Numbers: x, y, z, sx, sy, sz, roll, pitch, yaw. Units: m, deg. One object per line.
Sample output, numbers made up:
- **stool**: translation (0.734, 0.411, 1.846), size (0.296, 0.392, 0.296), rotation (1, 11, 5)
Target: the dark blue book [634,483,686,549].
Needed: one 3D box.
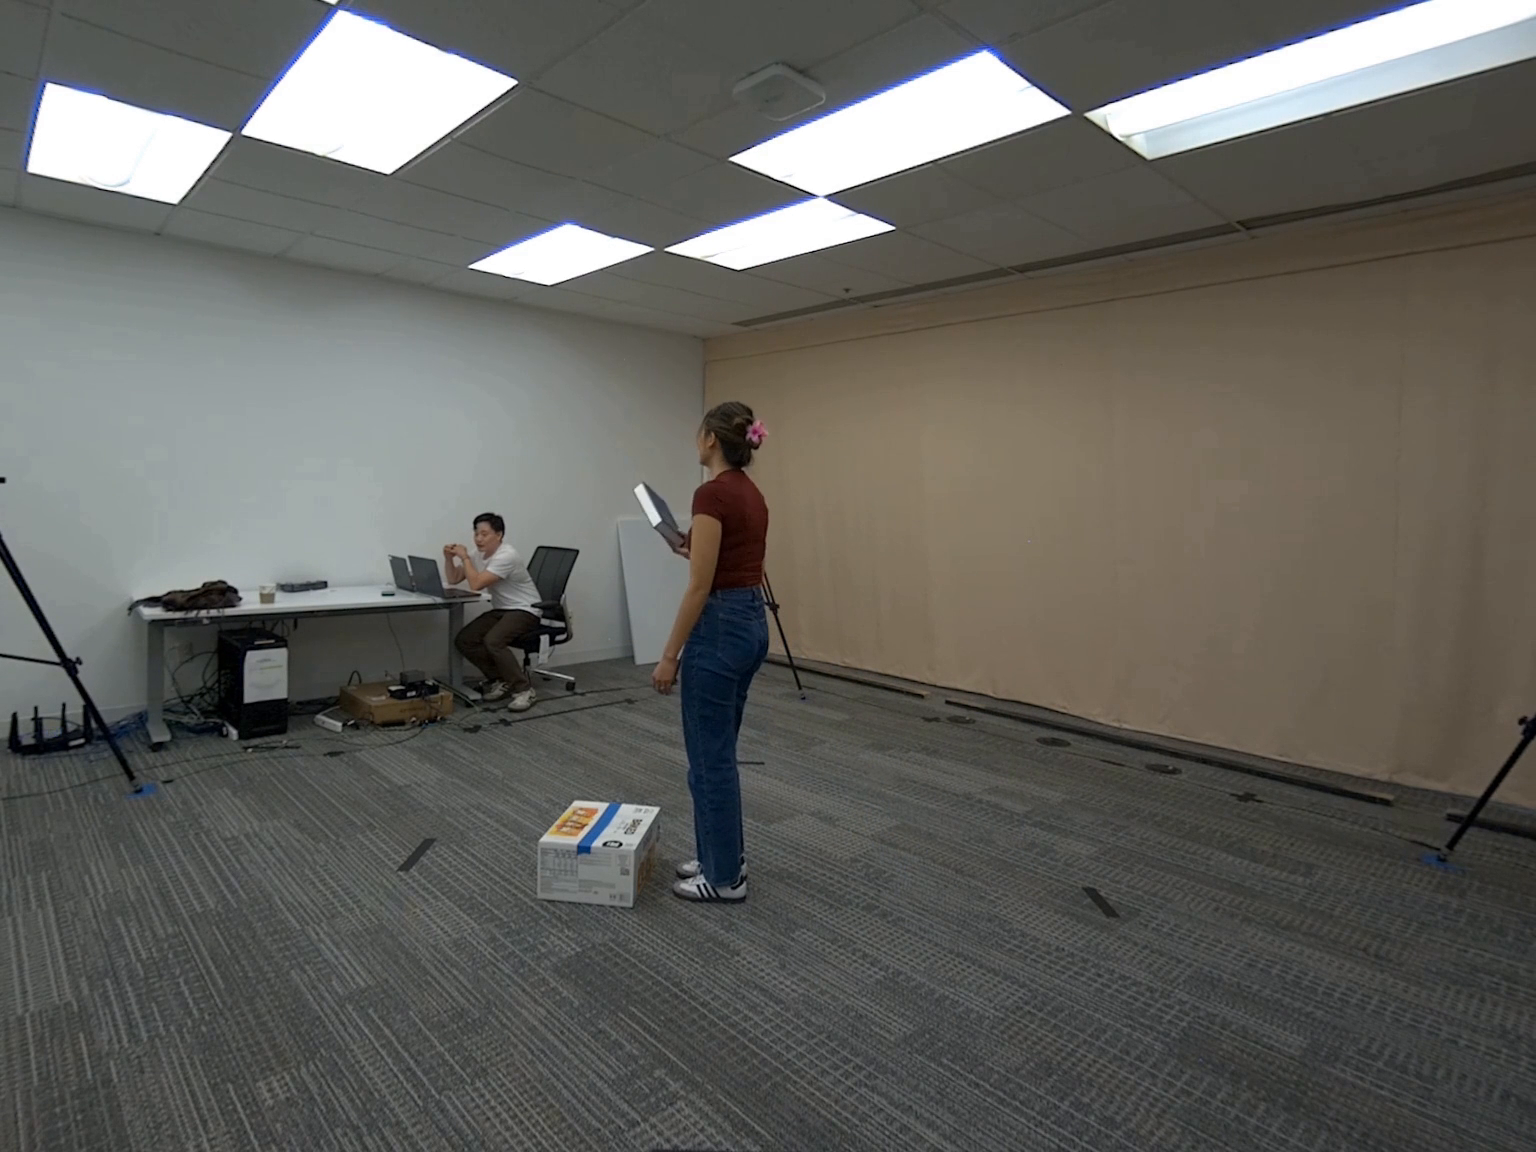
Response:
- **dark blue book**: translation (-0.418, -0.229, 3.180), size (0.158, 0.045, 0.253), rotation (41, 15, -46)
